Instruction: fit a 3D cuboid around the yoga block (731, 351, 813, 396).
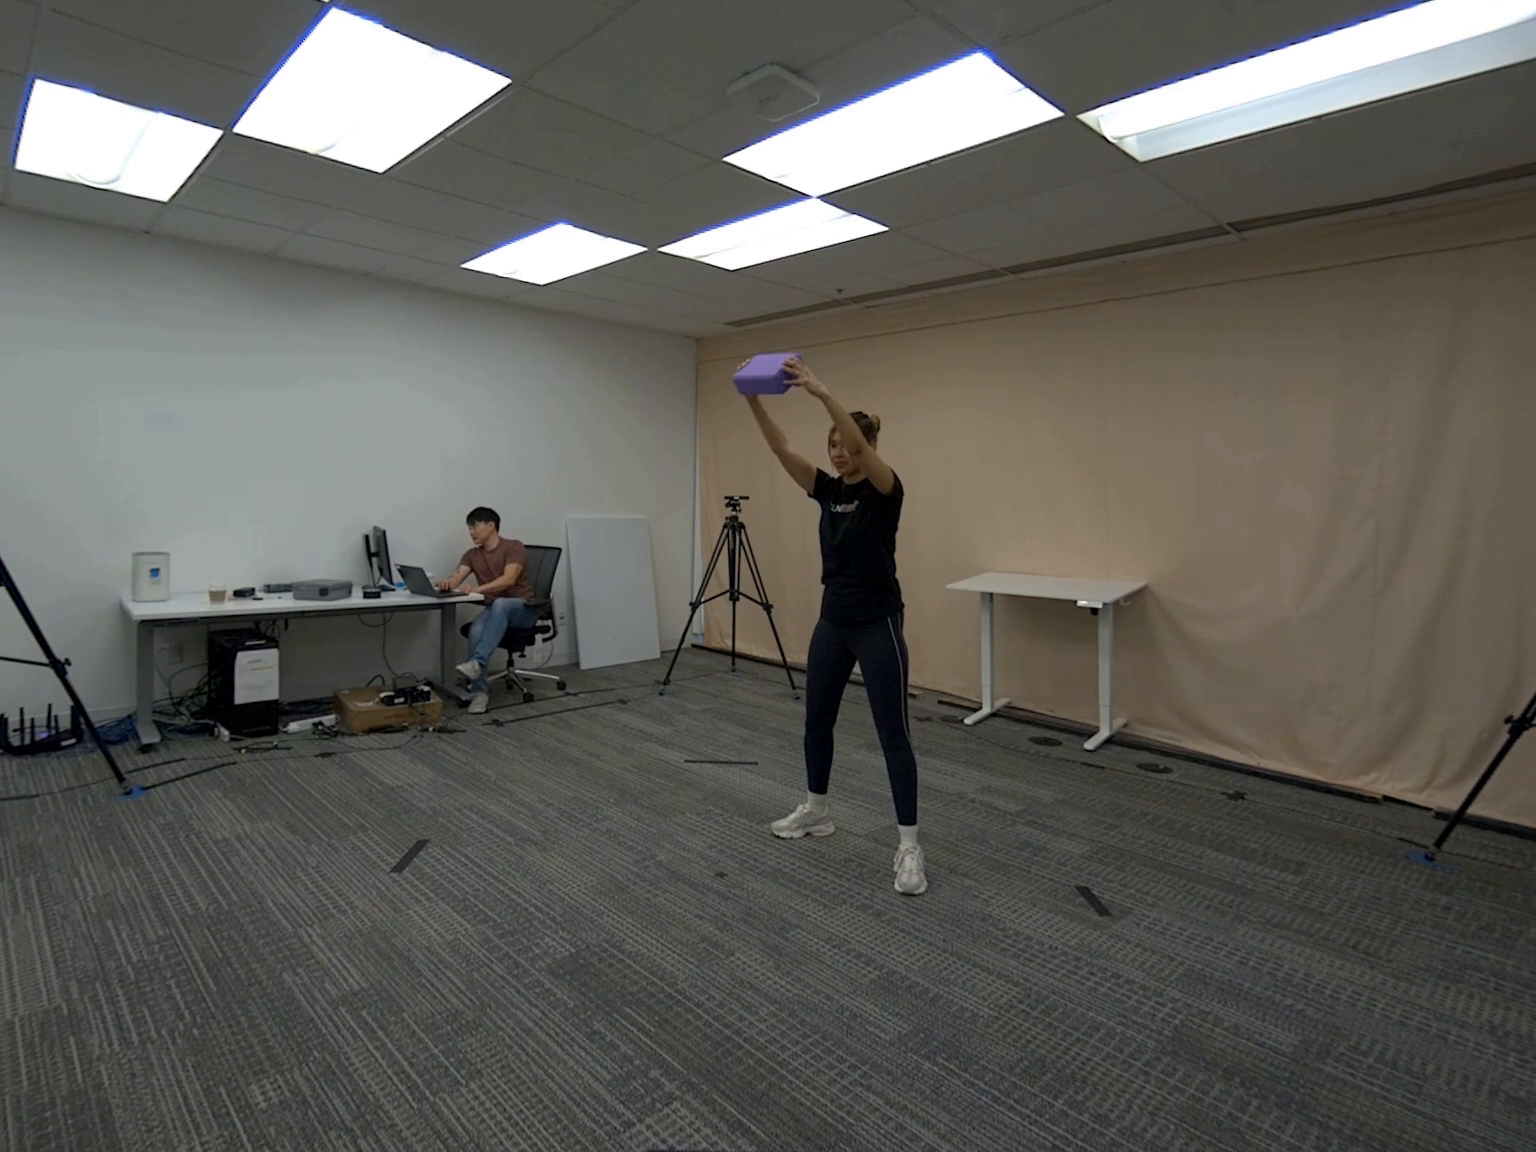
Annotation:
[{"bbox_3d":[0.010,-0.695,2.897,0.236,0.074,0.149,14,52,48],"label":"yoga block"}]
